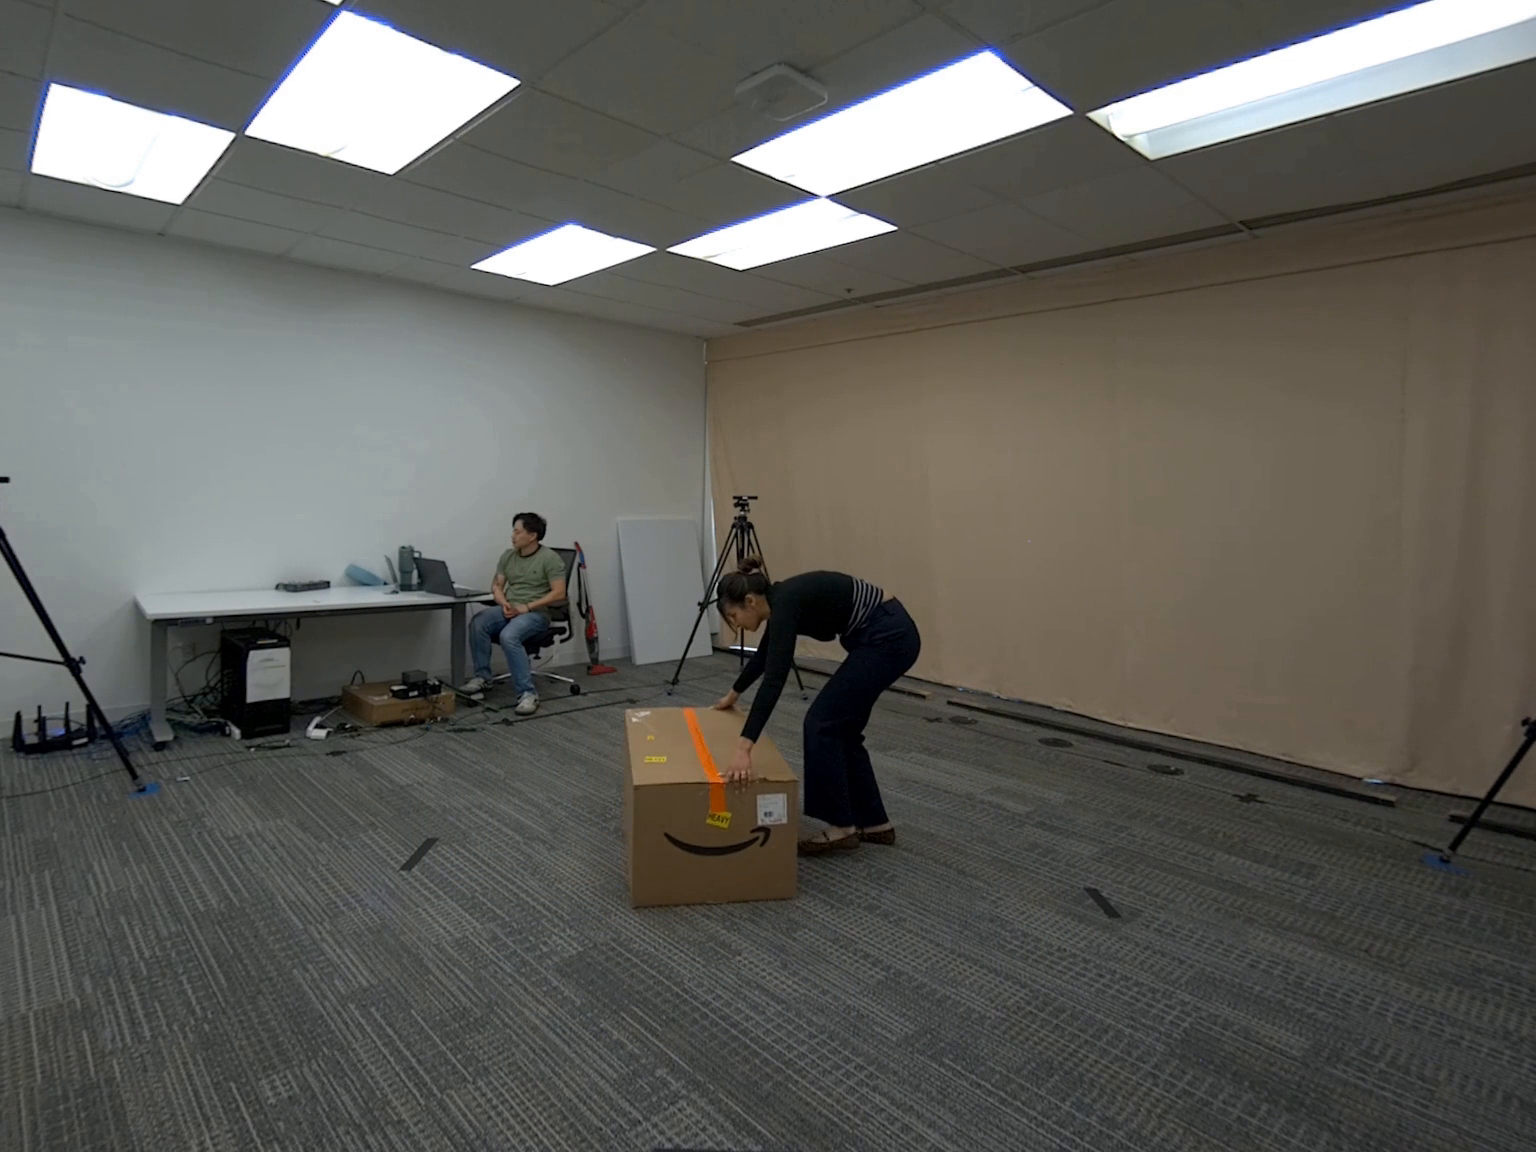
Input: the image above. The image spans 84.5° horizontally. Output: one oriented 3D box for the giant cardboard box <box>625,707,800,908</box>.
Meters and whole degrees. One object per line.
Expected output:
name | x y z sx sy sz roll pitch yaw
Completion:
giant cardboard box | -0.288 0.860 3.363 0.573 0.425 1.037 0 5 -11
